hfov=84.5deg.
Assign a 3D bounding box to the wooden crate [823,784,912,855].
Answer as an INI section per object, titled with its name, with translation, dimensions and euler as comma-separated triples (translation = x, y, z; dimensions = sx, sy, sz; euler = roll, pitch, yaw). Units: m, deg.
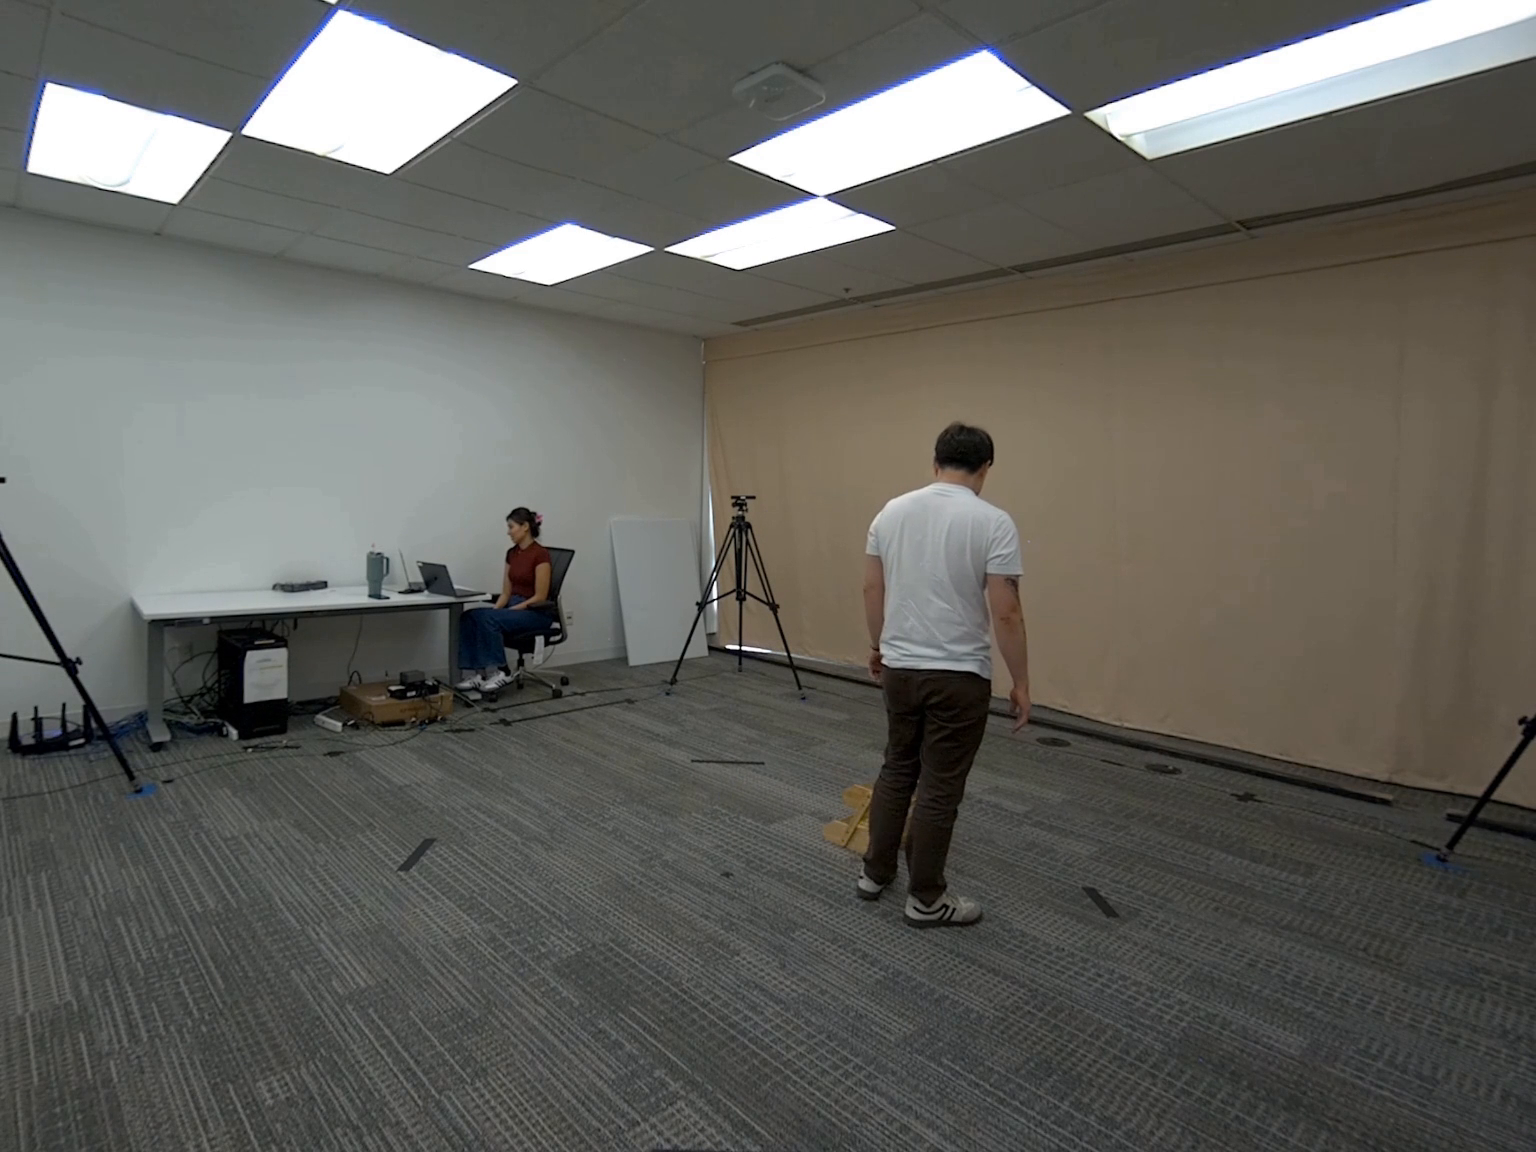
[wooden crate]
translation = 0.425, 0.951, 3.457
dimensions = 0.310, 0.272, 0.317
euler = 6, 6, 42
